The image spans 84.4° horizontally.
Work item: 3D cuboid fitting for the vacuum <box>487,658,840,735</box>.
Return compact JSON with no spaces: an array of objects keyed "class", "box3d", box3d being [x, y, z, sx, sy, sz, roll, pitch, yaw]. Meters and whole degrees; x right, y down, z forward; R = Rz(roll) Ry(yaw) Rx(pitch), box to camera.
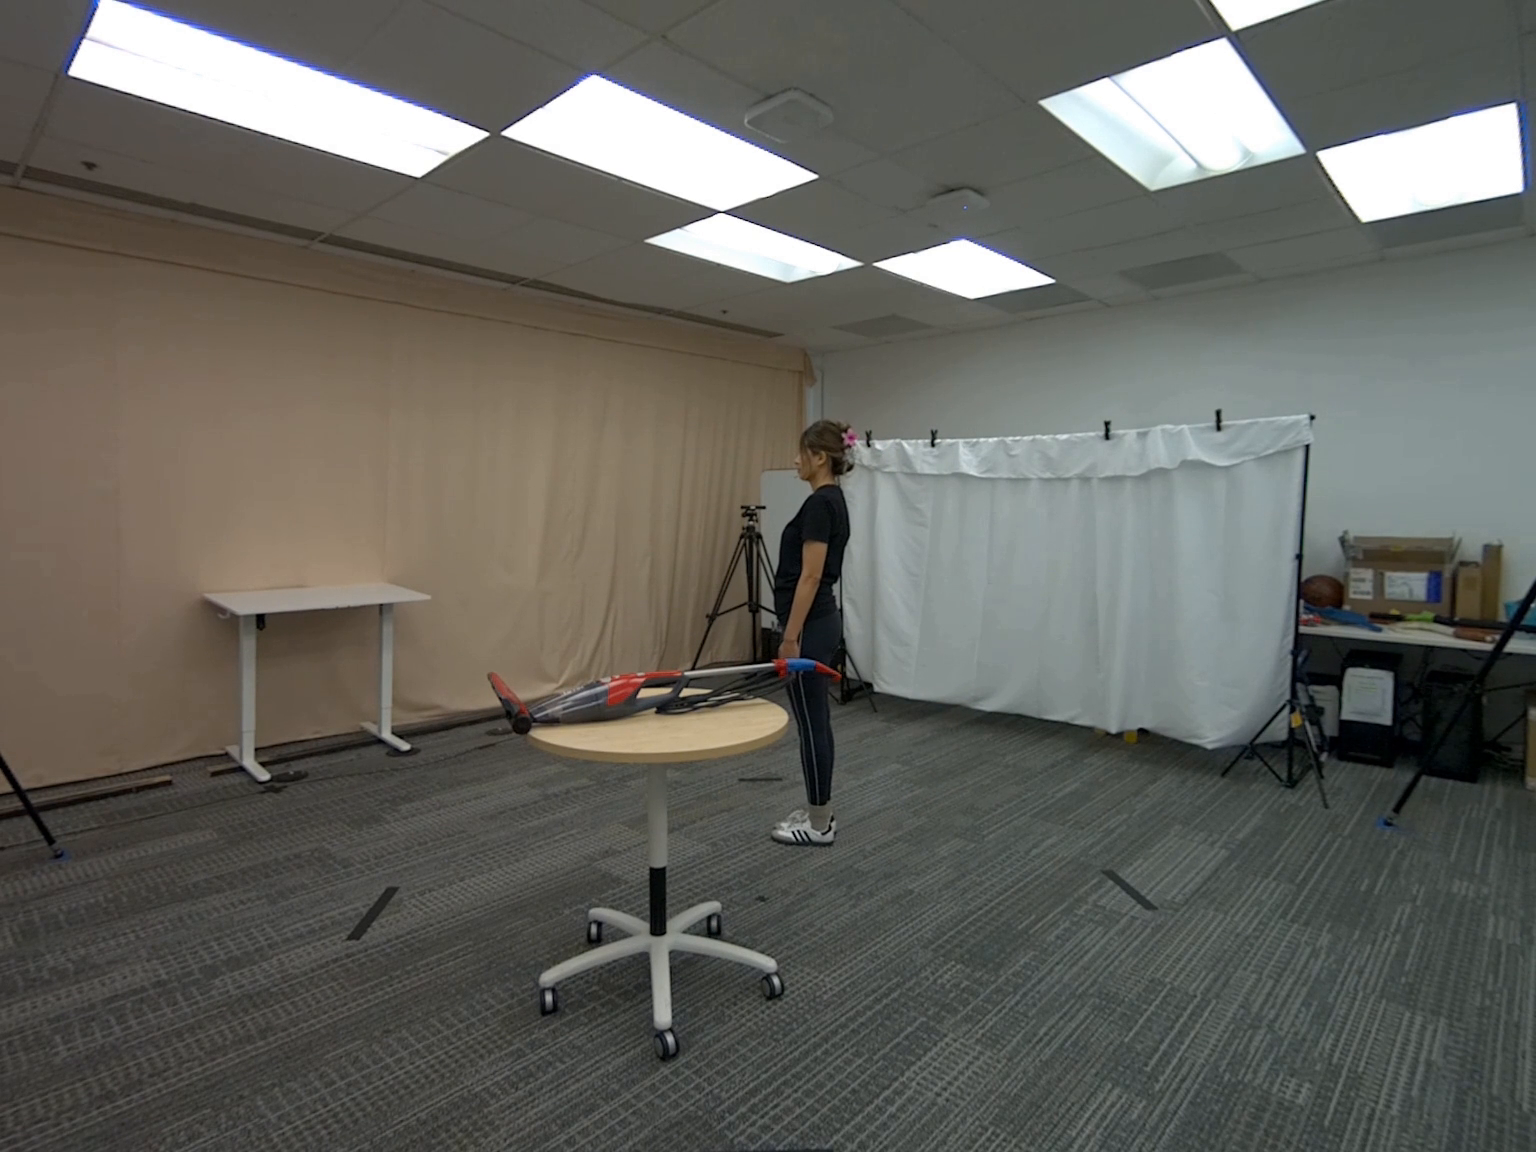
[{"class":"vacuum","box3d":[-0.254,0.352,2.482,1.026,0.143,0.260,-2,11,-23]}]
